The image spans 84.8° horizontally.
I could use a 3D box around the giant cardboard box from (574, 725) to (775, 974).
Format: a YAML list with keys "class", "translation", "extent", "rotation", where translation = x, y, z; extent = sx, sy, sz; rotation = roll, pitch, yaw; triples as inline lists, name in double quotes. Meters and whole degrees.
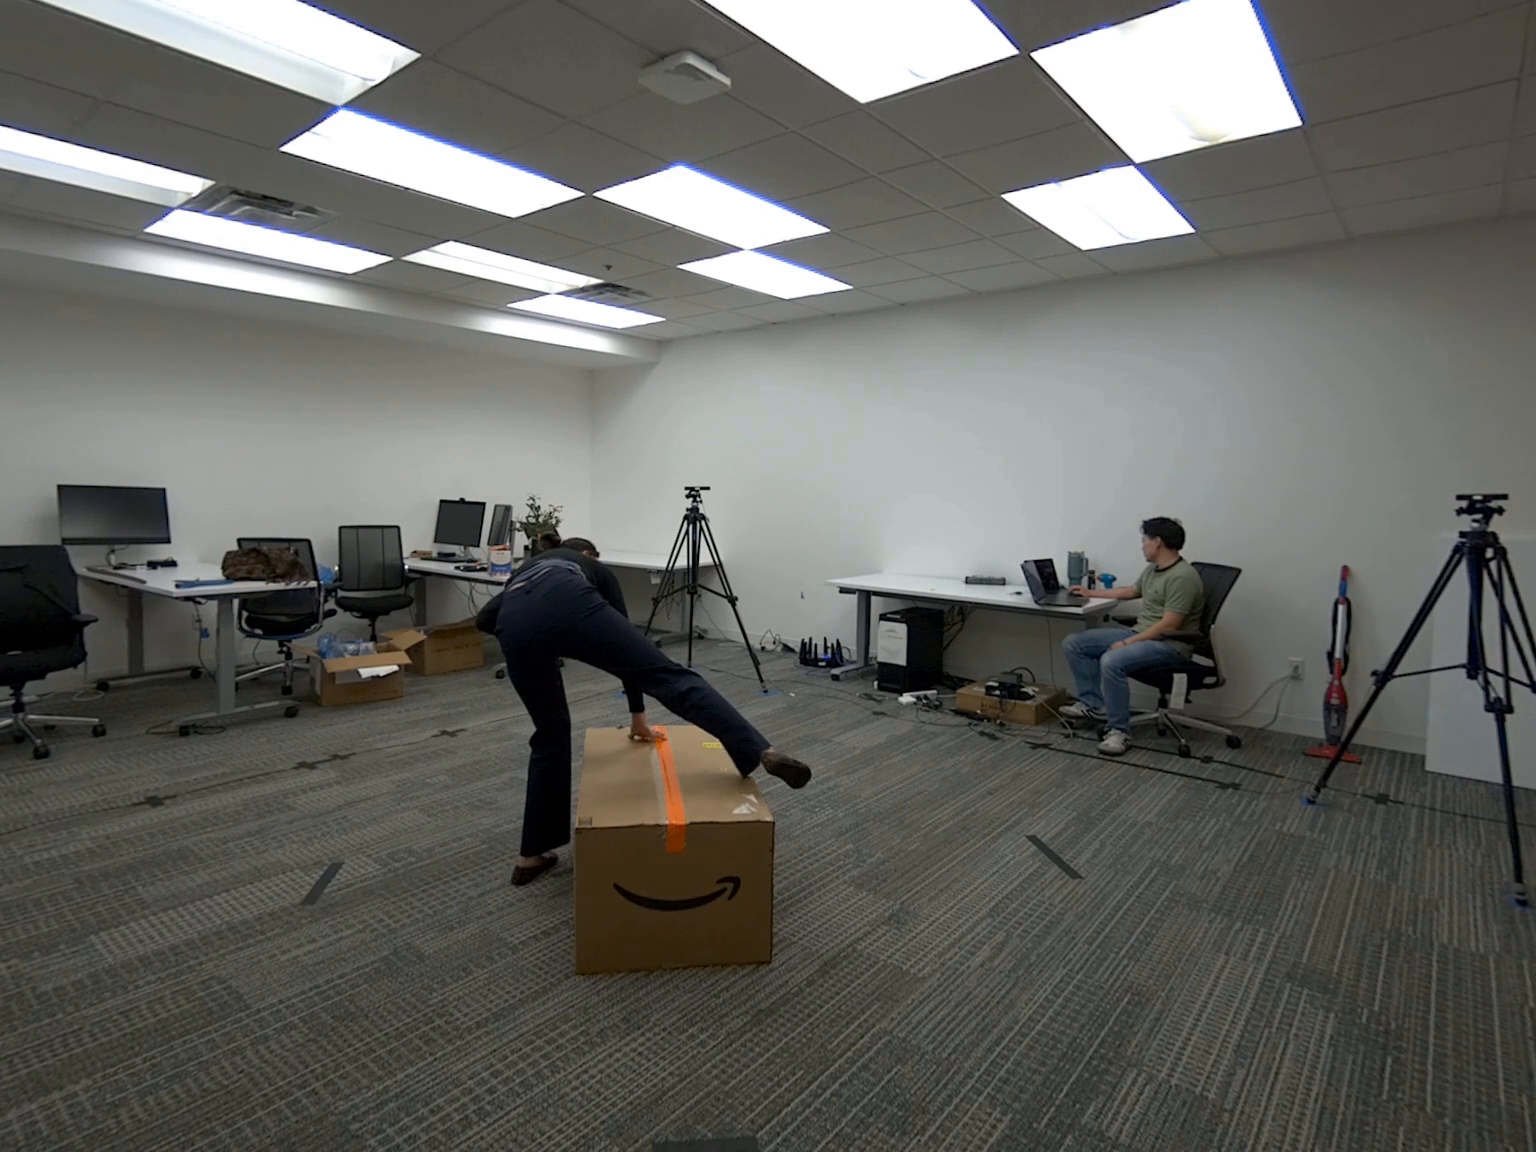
- class: "giant cardboard box"
  translation: [-0.372, 0.865, 2.939]
  extent: [0.572, 0.425, 1.040]
  rotation: [0, 5, -10]
